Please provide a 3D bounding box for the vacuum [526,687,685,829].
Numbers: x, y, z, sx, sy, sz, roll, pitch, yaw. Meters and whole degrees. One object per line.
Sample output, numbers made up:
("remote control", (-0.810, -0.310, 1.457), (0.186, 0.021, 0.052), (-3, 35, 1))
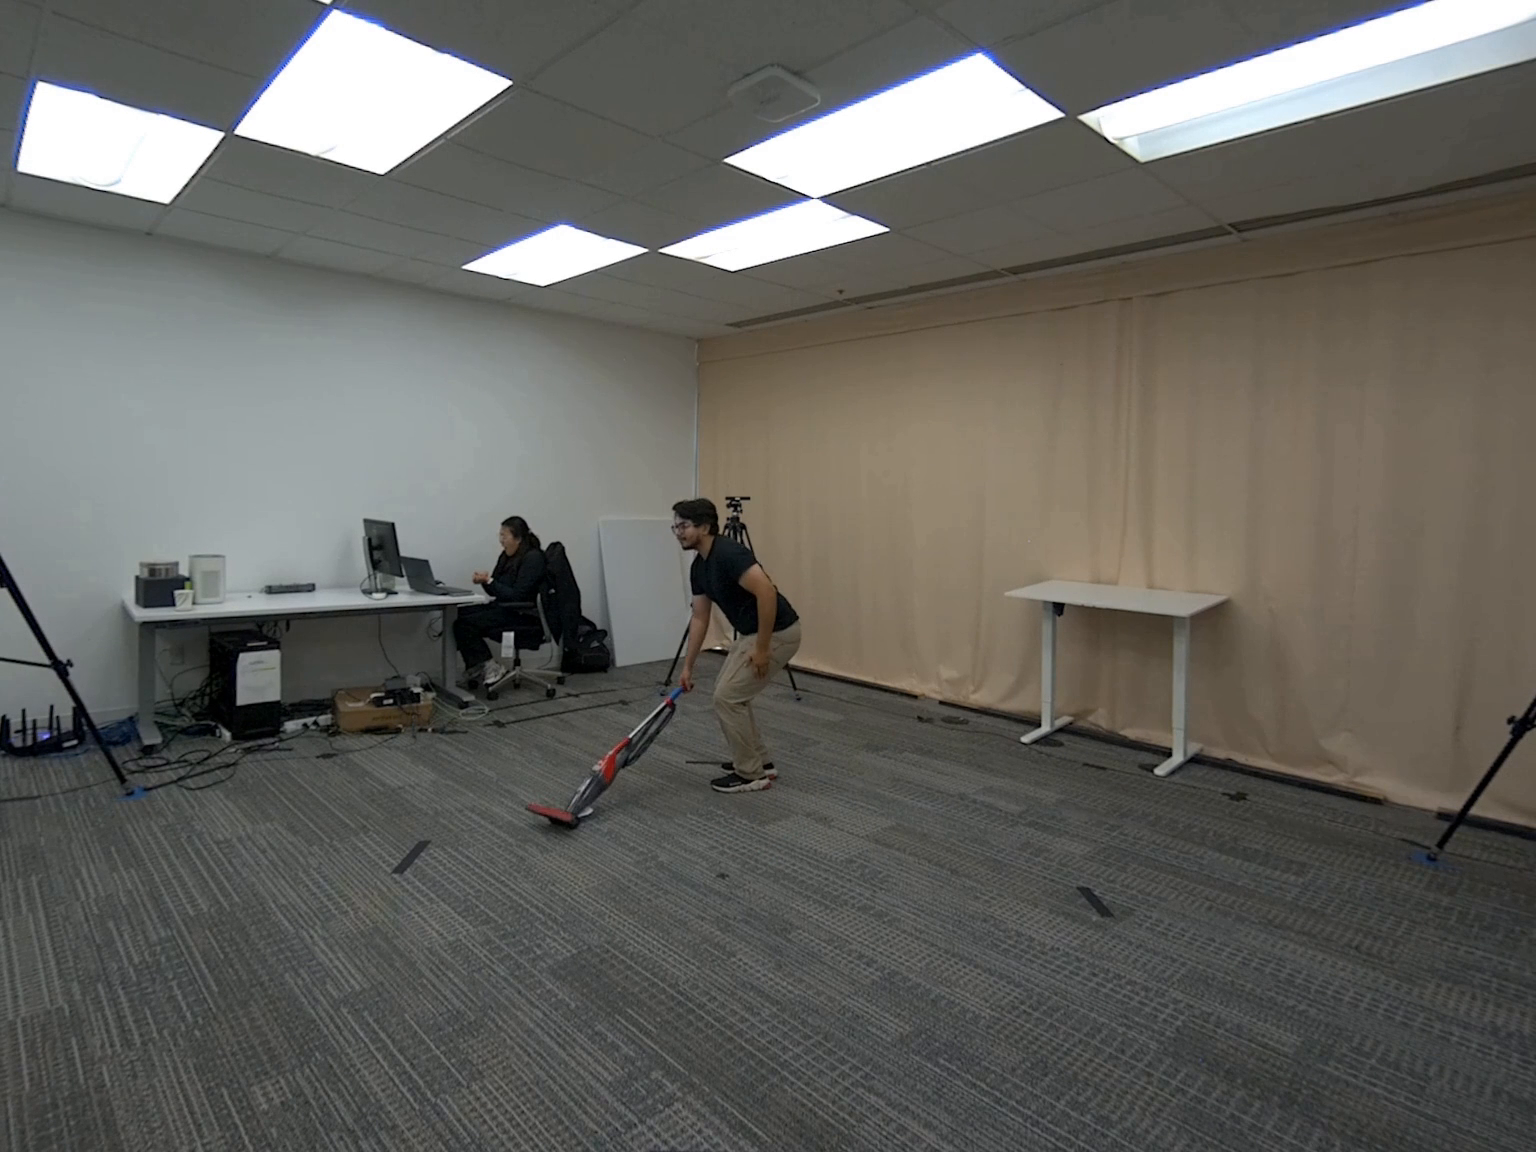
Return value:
("vacuum", (-0.653, 0.804, 3.906), (0.258, 0.141, 1.045), (4, 26, 29))
